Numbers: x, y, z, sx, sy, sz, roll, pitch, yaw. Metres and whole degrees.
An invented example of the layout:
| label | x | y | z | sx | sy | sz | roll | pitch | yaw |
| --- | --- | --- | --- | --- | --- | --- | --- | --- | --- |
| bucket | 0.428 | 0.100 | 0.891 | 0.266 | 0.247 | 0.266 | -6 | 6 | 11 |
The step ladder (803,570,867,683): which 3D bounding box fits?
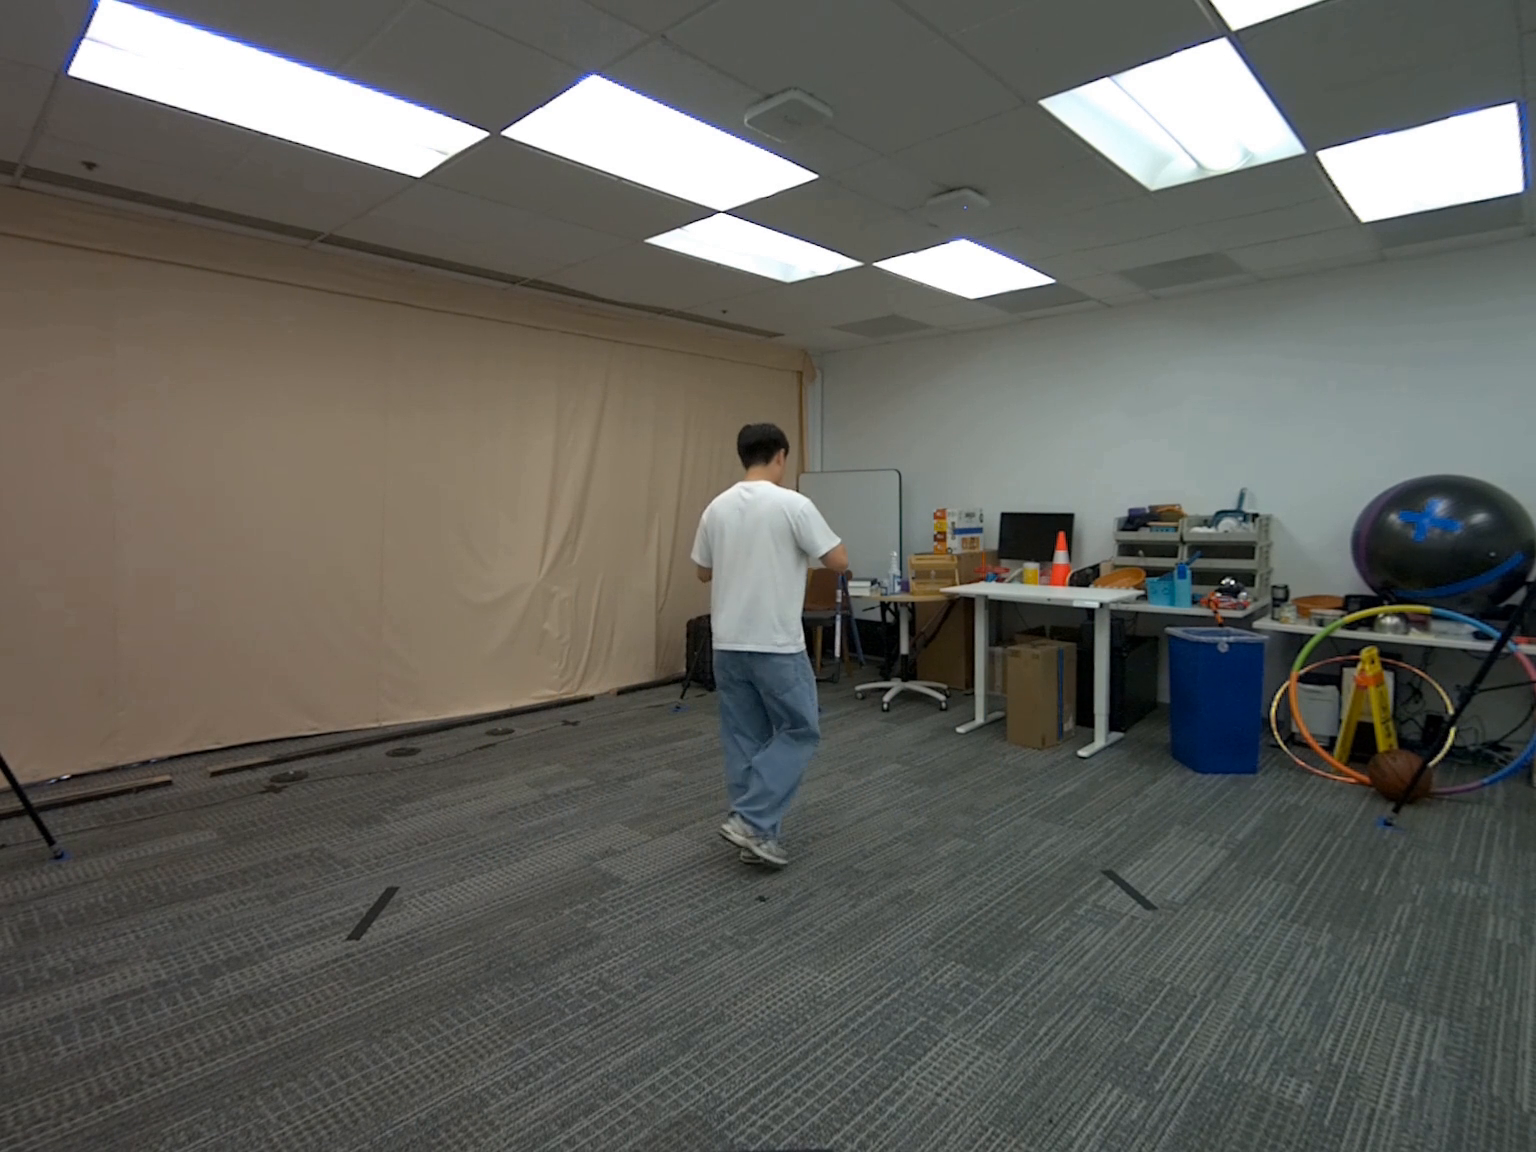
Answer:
| label | x | y | z | sx | sy | sz | roll | pitch | yaw |
| --- | --- | --- | --- | --- | --- | --- | --- | --- | --- |
| step ladder | 0.142 | 0.119 | 3.591 | 0.442 | 0.605 | 0.340 | -2 | 3 | 29 |
